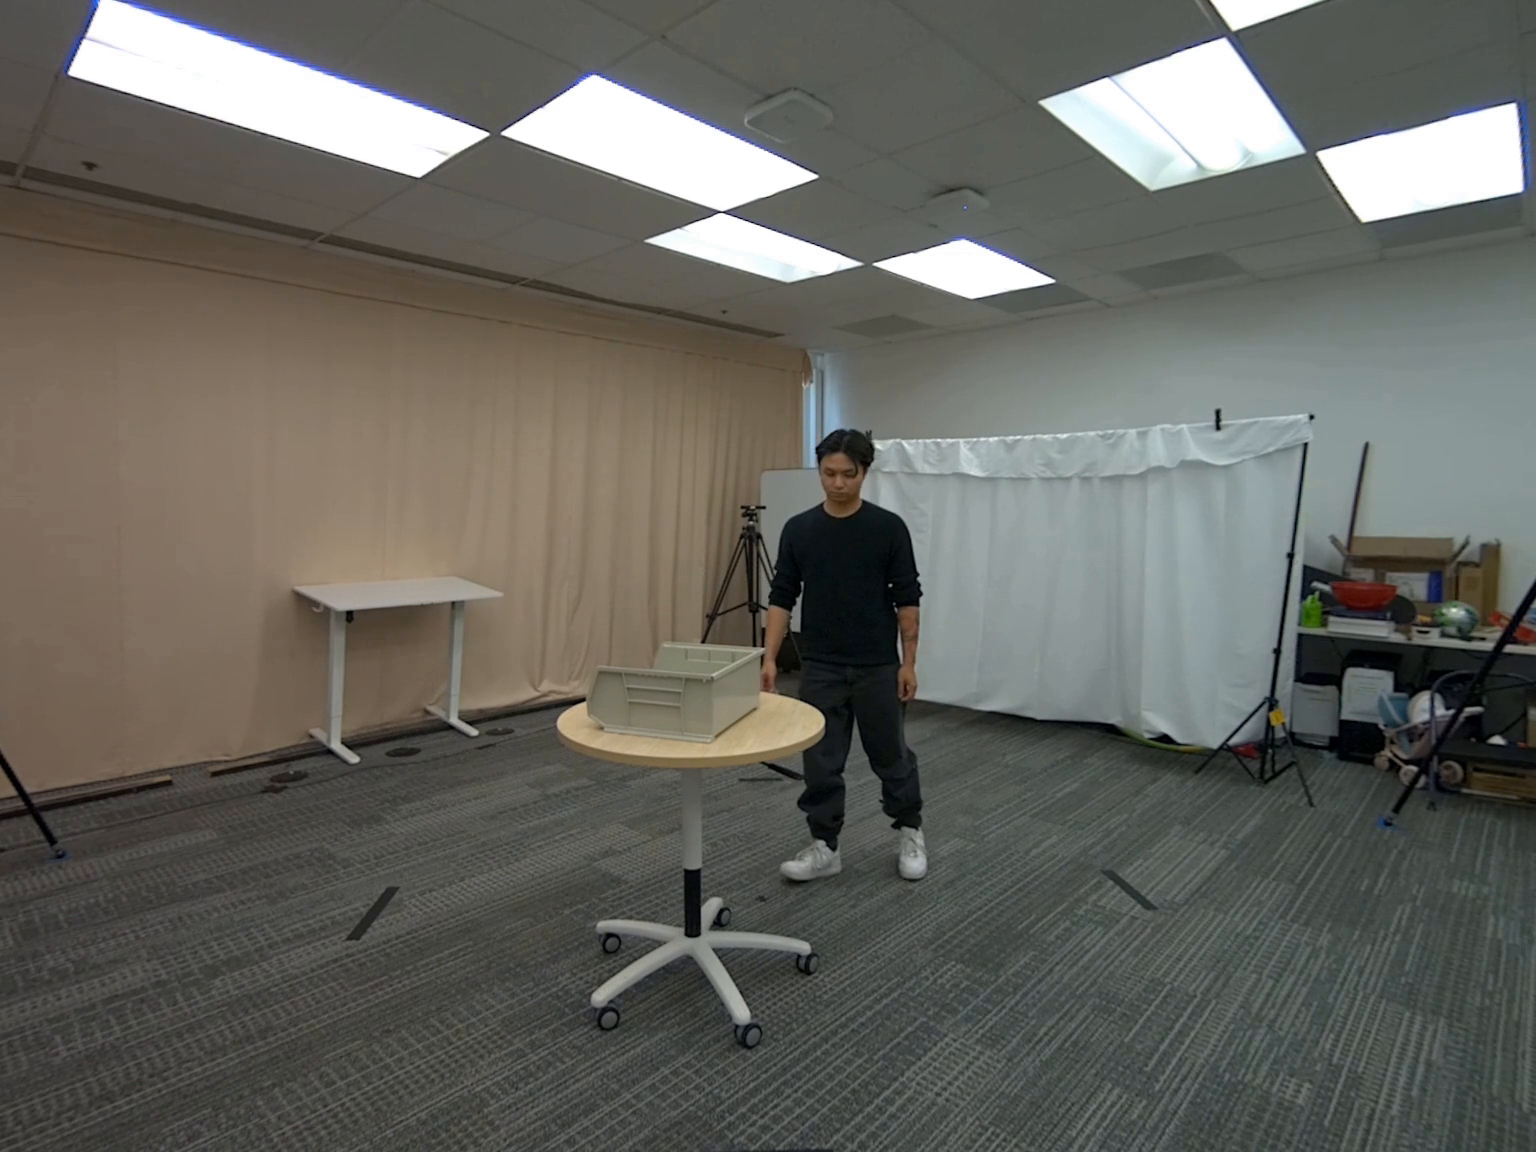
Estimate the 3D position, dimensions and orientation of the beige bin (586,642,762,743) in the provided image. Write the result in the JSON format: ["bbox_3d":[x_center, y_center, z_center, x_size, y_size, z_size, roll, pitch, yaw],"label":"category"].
[{"bbox_3d":[-0.248,0.323,2.407,0.385,0.188,0.414,2,5,19],"label":"beige bin"}]
